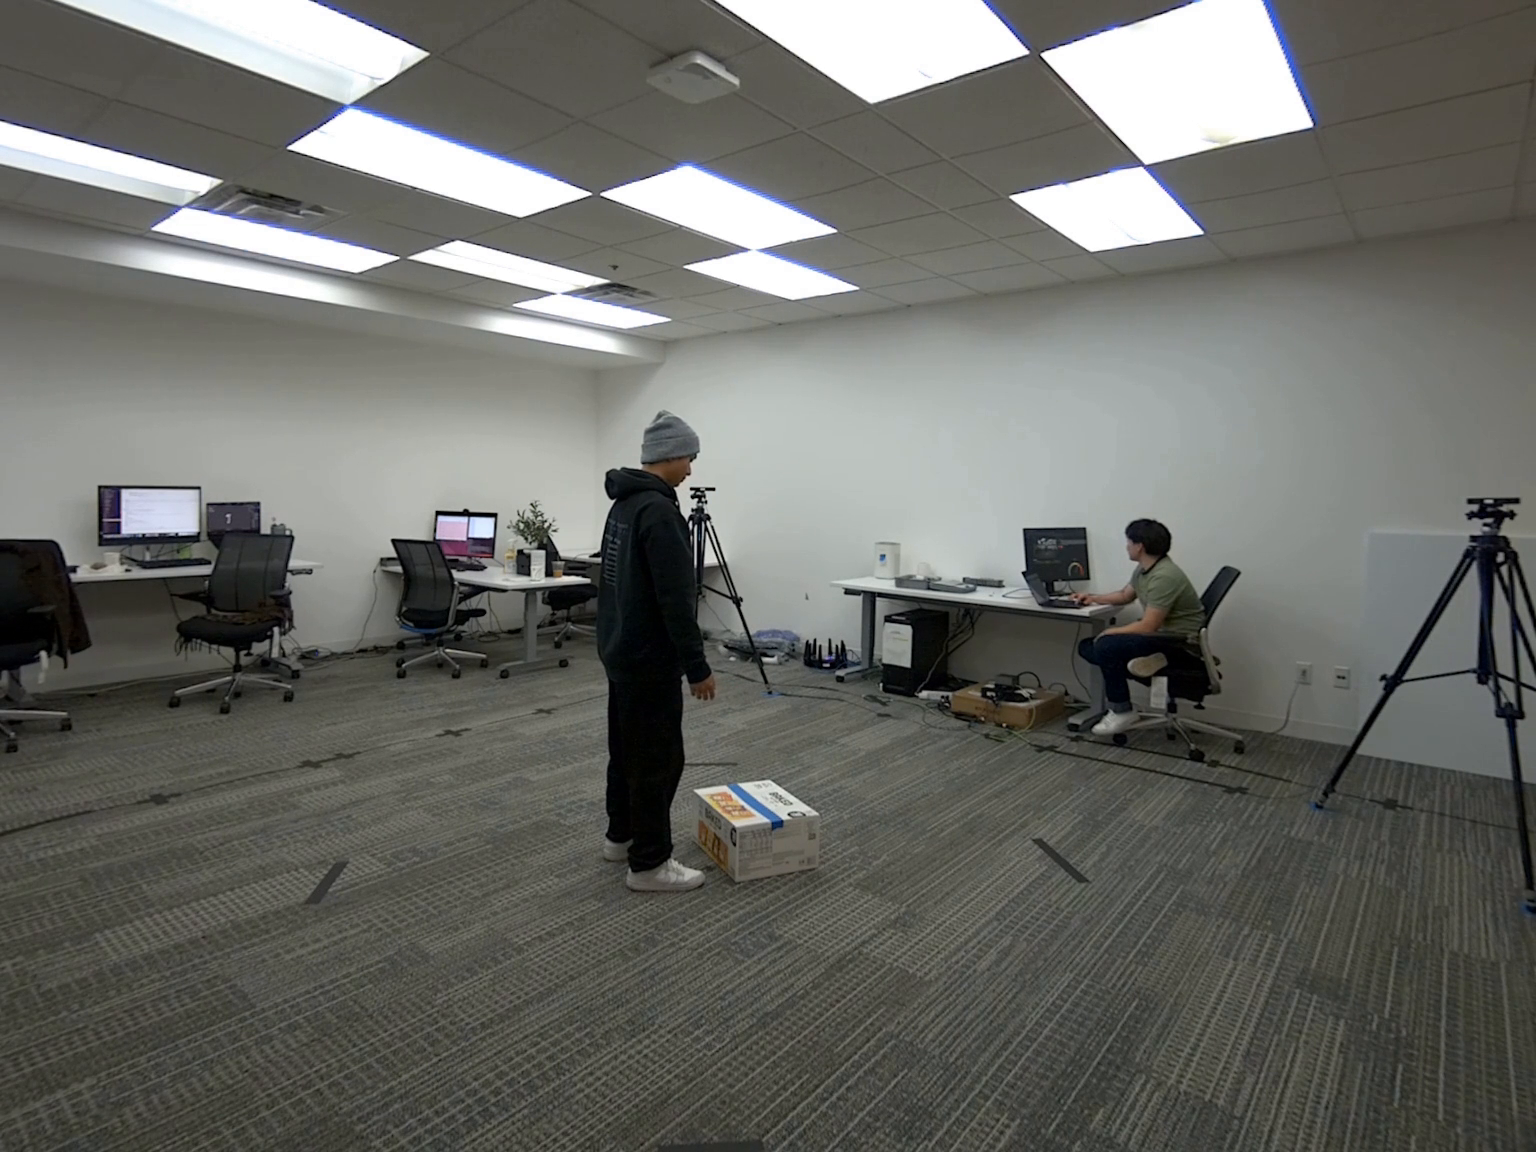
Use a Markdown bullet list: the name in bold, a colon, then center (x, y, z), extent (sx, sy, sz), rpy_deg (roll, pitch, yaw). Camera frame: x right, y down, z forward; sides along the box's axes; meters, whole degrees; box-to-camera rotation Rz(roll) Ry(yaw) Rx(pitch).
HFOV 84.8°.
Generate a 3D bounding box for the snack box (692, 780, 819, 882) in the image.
- **snack box**: center (-0.063, 0.955, 3.236), extent (0.332, 0.205, 0.417), rpy_deg (-2, 6, -26)
